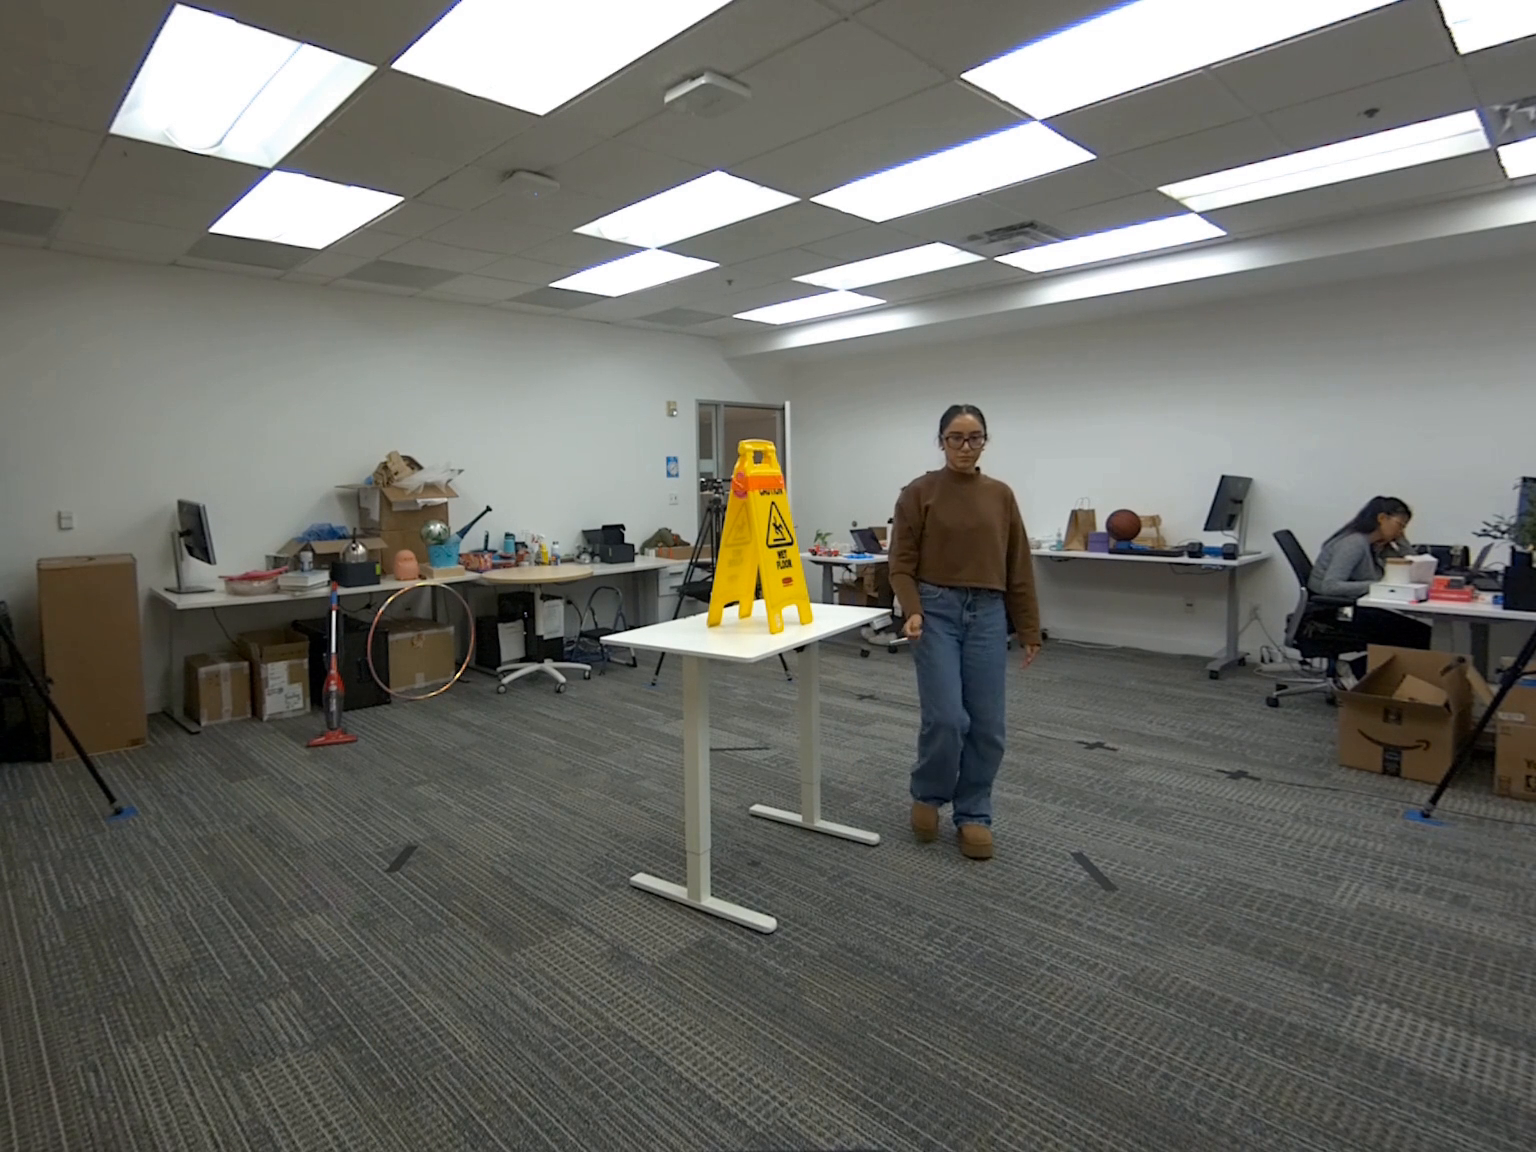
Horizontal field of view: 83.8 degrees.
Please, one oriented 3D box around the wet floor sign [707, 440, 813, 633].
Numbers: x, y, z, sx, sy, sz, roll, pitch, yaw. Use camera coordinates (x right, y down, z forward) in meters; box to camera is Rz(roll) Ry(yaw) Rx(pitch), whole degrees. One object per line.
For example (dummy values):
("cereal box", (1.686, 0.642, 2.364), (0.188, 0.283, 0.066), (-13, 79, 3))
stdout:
("wet floor sign", (-0.033, -0.149, 3.003), (0.297, 0.644, 0.275), (1, 4, 33))
